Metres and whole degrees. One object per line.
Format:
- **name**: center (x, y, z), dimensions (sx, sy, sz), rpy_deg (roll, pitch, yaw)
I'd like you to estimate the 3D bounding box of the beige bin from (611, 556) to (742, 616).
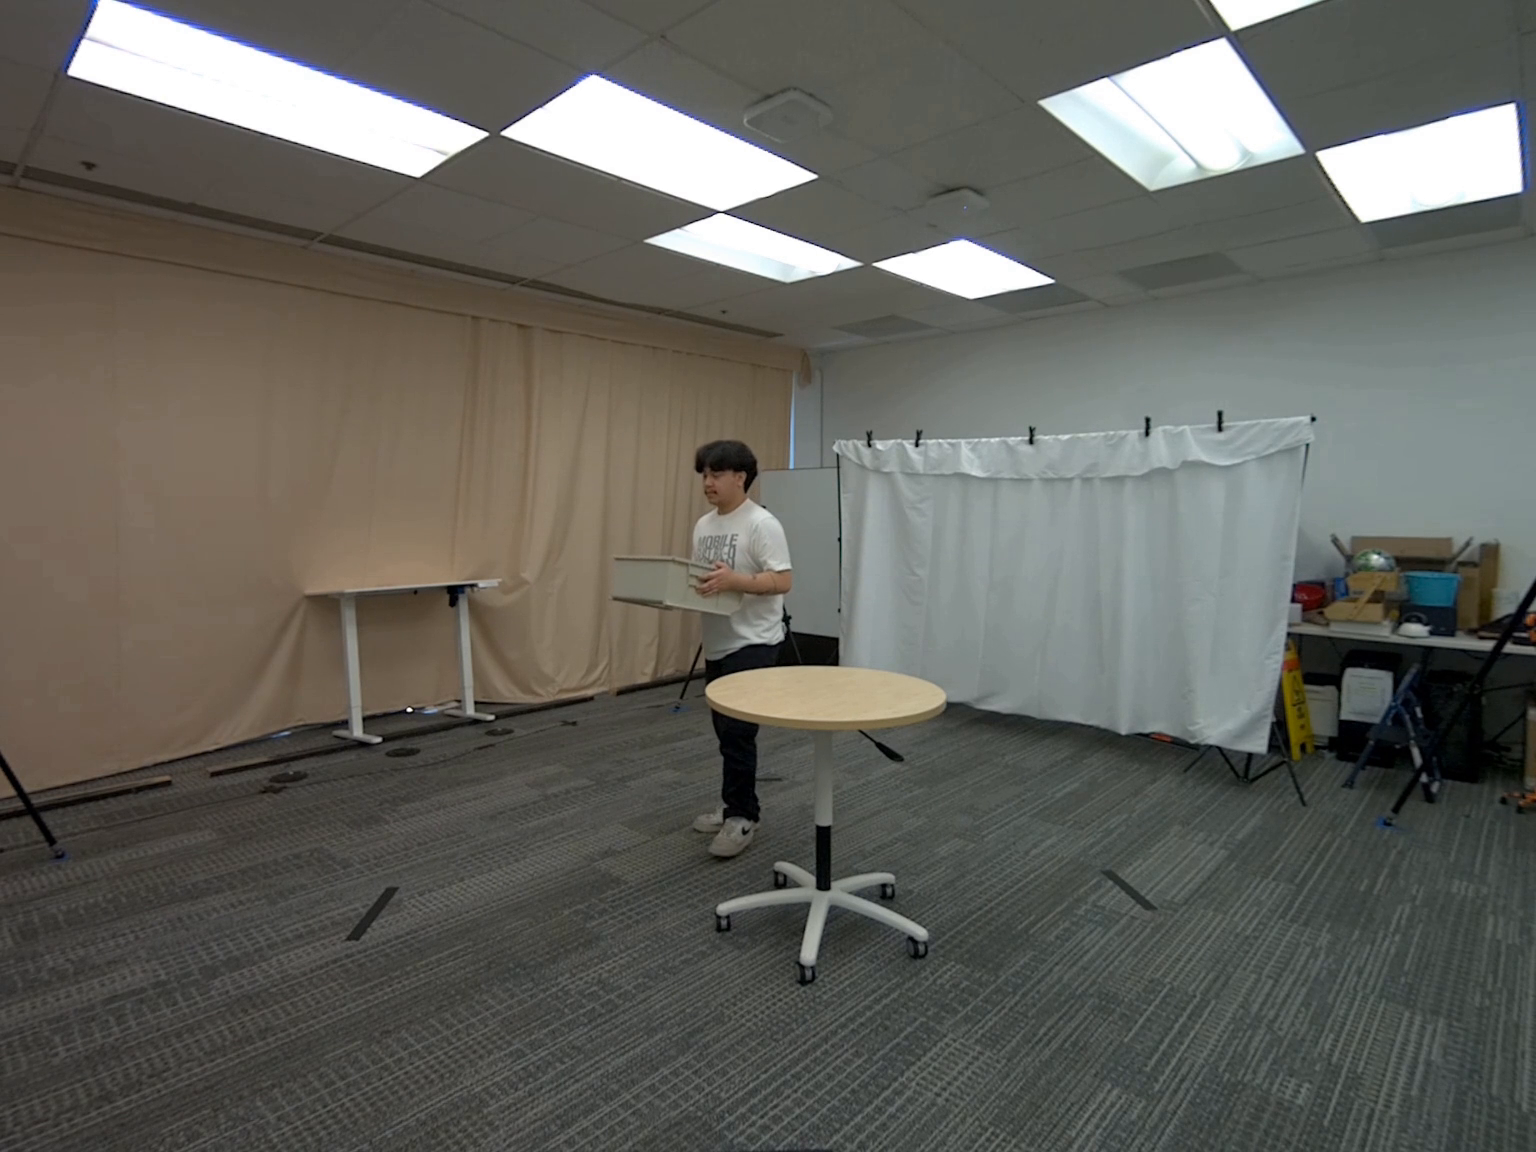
- **beige bin**: center (-0.373, 0.041, 3.365), dimensions (0.364, 0.189, 0.436), rpy_deg (10, -4, -40)
